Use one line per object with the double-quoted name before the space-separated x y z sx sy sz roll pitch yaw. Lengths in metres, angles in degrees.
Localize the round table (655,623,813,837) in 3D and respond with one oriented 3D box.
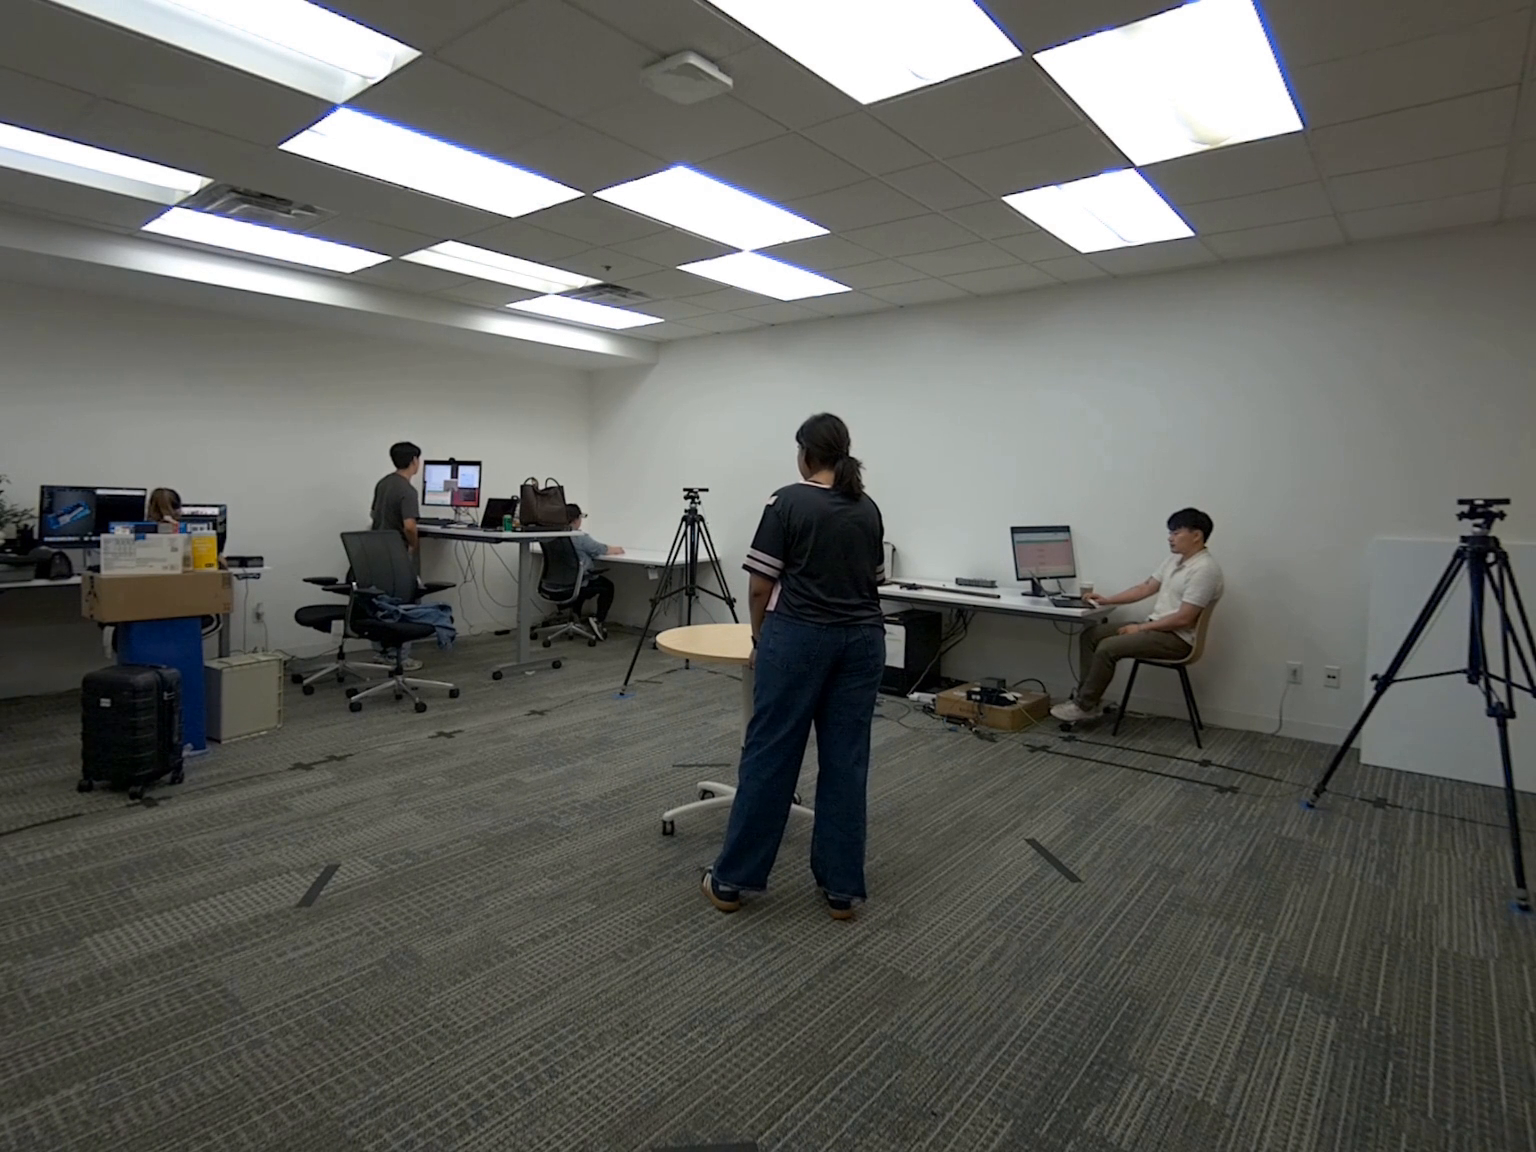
"round table" -0.092 0.646 3.488 0.763 0.791 0.768 1 4 -2
